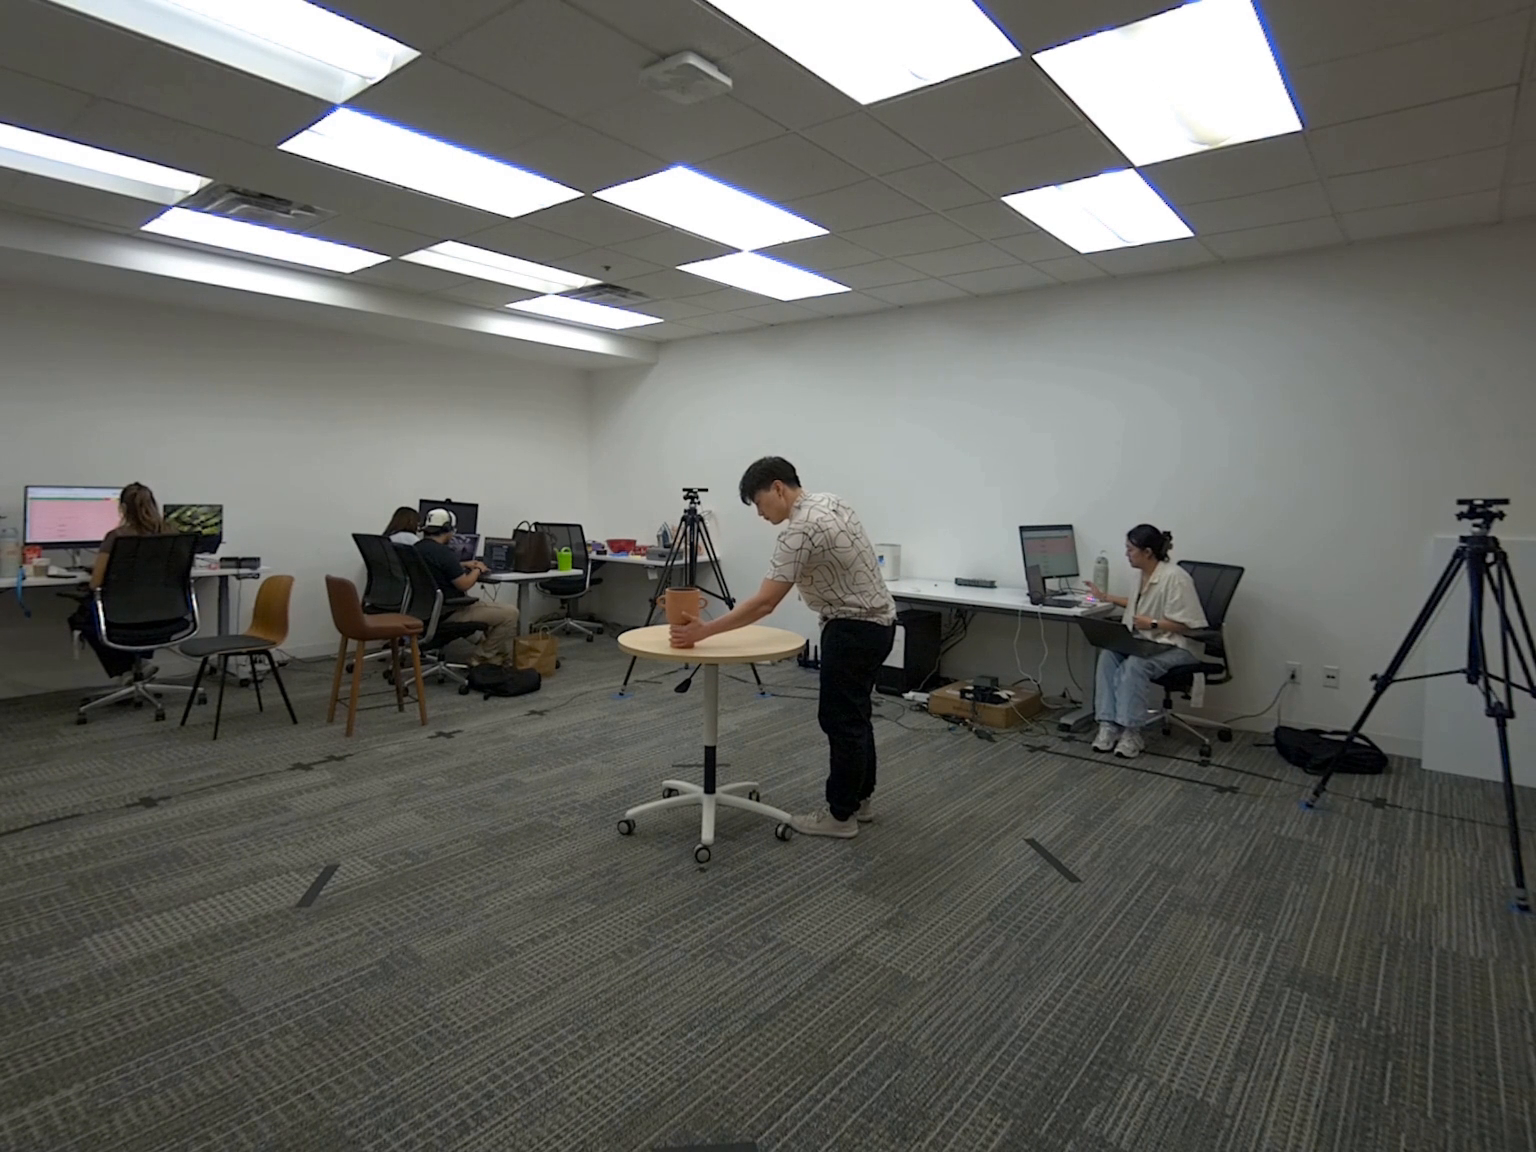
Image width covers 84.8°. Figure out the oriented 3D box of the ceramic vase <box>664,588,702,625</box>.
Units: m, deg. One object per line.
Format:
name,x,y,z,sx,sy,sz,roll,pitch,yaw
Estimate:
ceramic vase,-0.345,0.158,3.295,0.164,0.219,0.131,5,7,42
